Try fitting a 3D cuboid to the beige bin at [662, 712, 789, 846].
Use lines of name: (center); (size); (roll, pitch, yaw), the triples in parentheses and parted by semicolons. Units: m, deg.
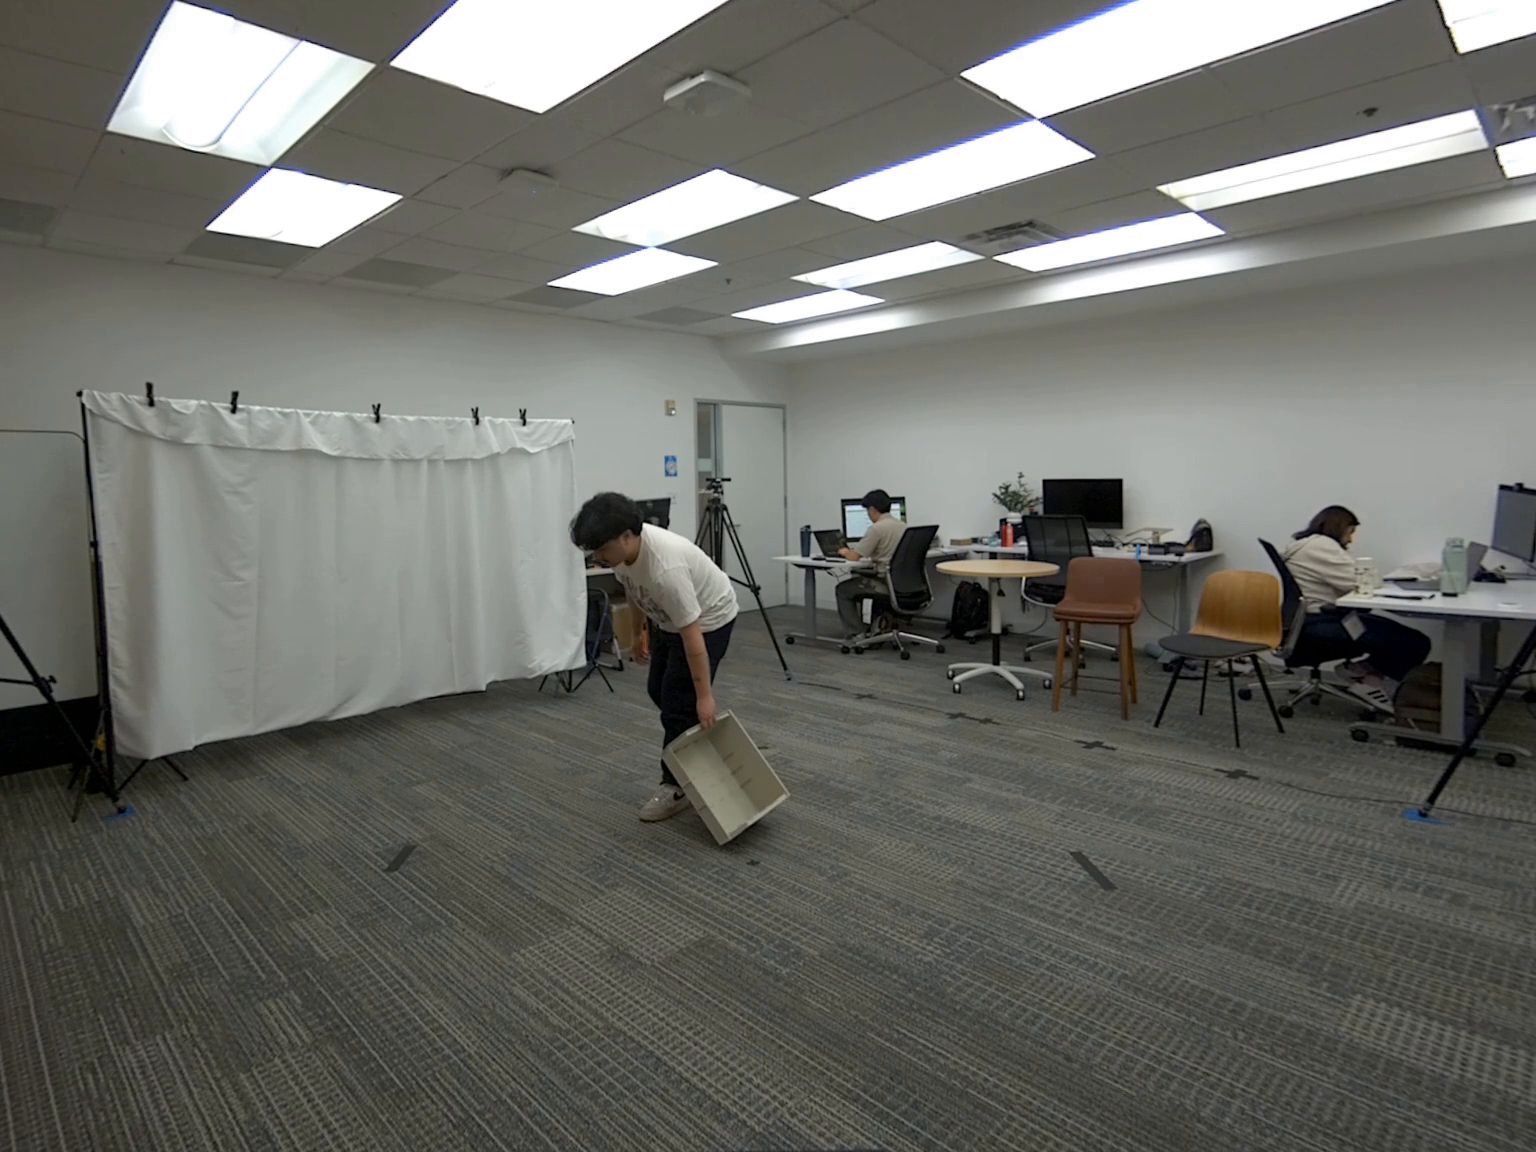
beige bin: (-0.170, 0.794, 3.387); (0.189, 0.431, 0.369); (-46, -16, 21)
